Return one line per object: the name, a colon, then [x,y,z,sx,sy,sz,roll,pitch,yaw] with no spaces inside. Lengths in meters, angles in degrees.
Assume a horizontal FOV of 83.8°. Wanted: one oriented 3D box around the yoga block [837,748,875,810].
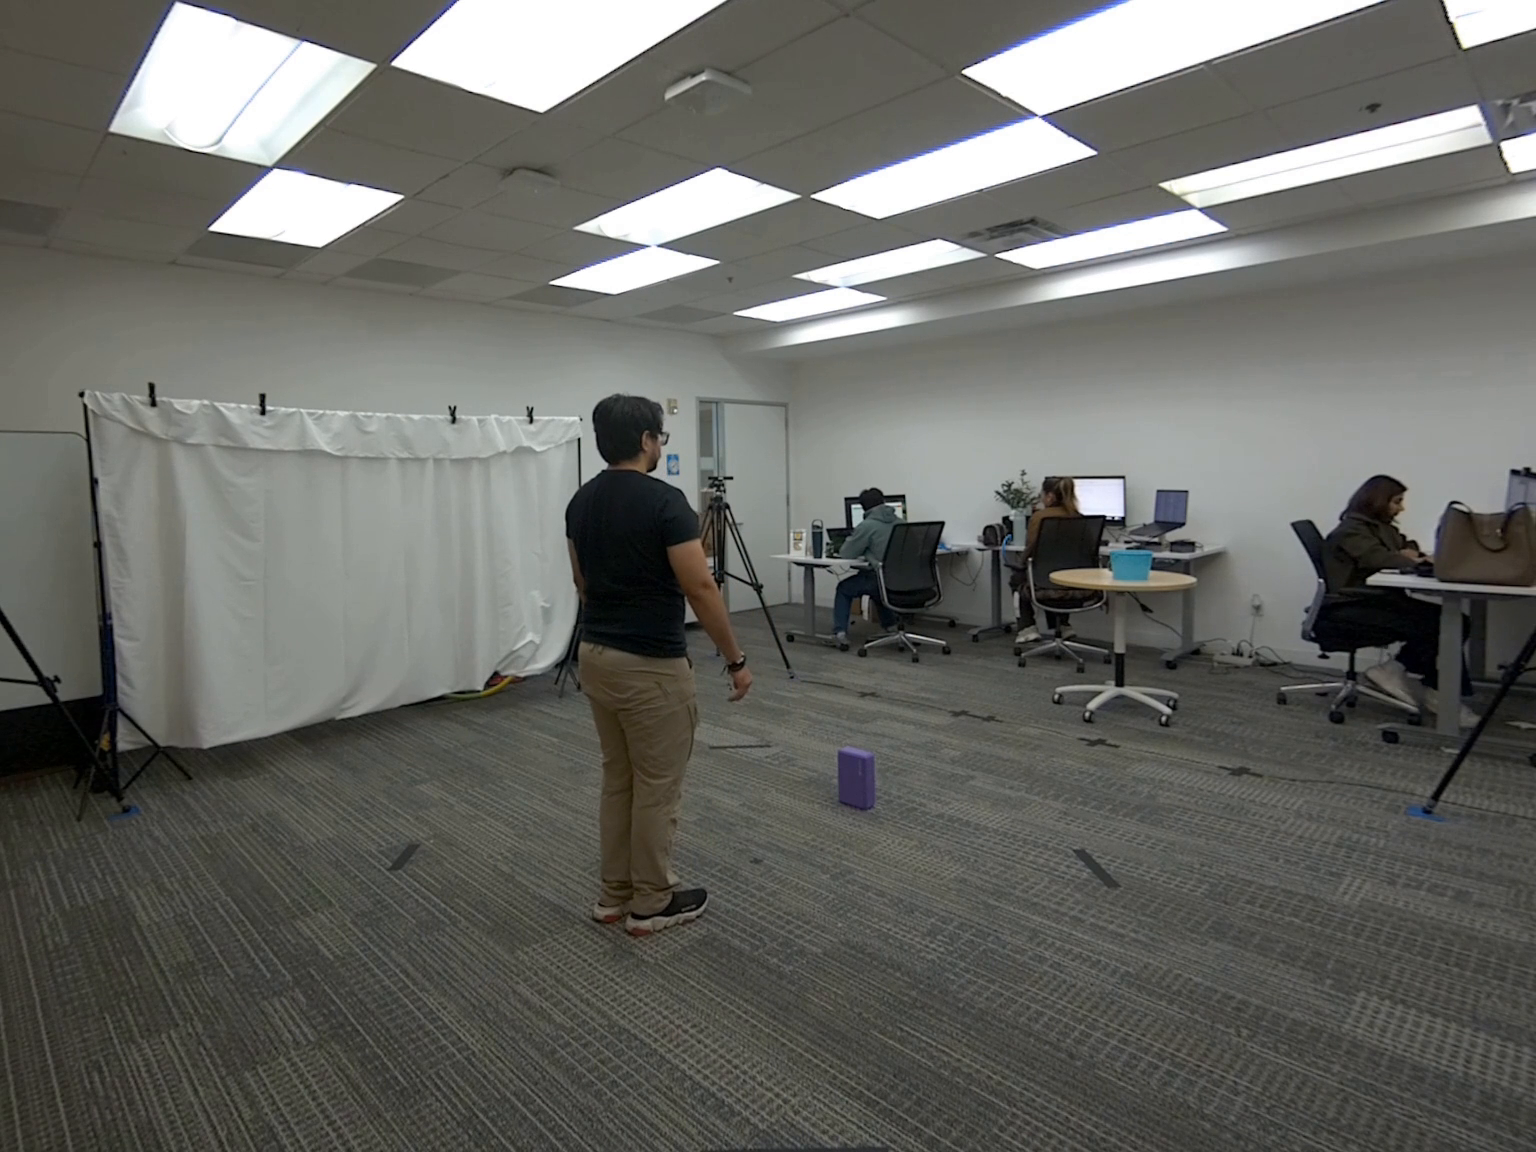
yoga block: [0.377,0.854,3.622,0.153,0.228,0.074,4,6,44]
